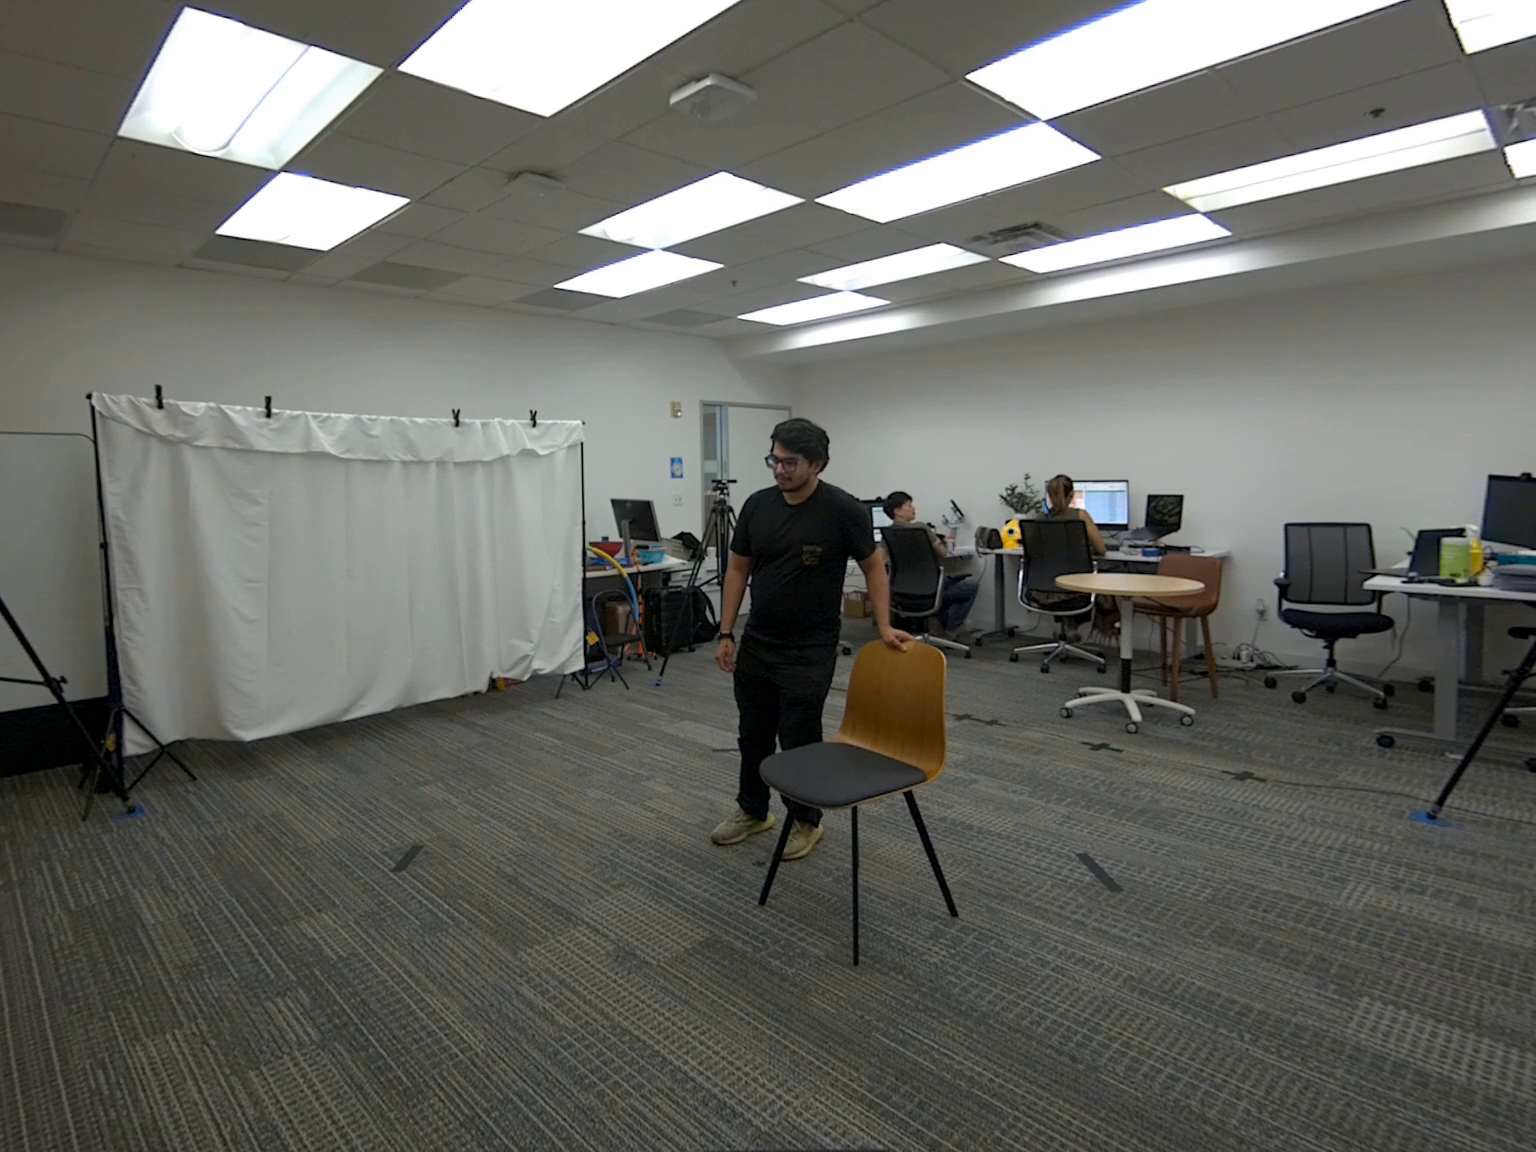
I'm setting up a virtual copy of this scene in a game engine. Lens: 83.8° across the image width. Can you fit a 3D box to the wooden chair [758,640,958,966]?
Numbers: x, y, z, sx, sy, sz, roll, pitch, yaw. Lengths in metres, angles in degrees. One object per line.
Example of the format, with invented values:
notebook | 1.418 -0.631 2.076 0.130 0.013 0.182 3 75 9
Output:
wooden chair | 0.278 0.661 2.717 0.508 0.877 0.492 1 1 -38
